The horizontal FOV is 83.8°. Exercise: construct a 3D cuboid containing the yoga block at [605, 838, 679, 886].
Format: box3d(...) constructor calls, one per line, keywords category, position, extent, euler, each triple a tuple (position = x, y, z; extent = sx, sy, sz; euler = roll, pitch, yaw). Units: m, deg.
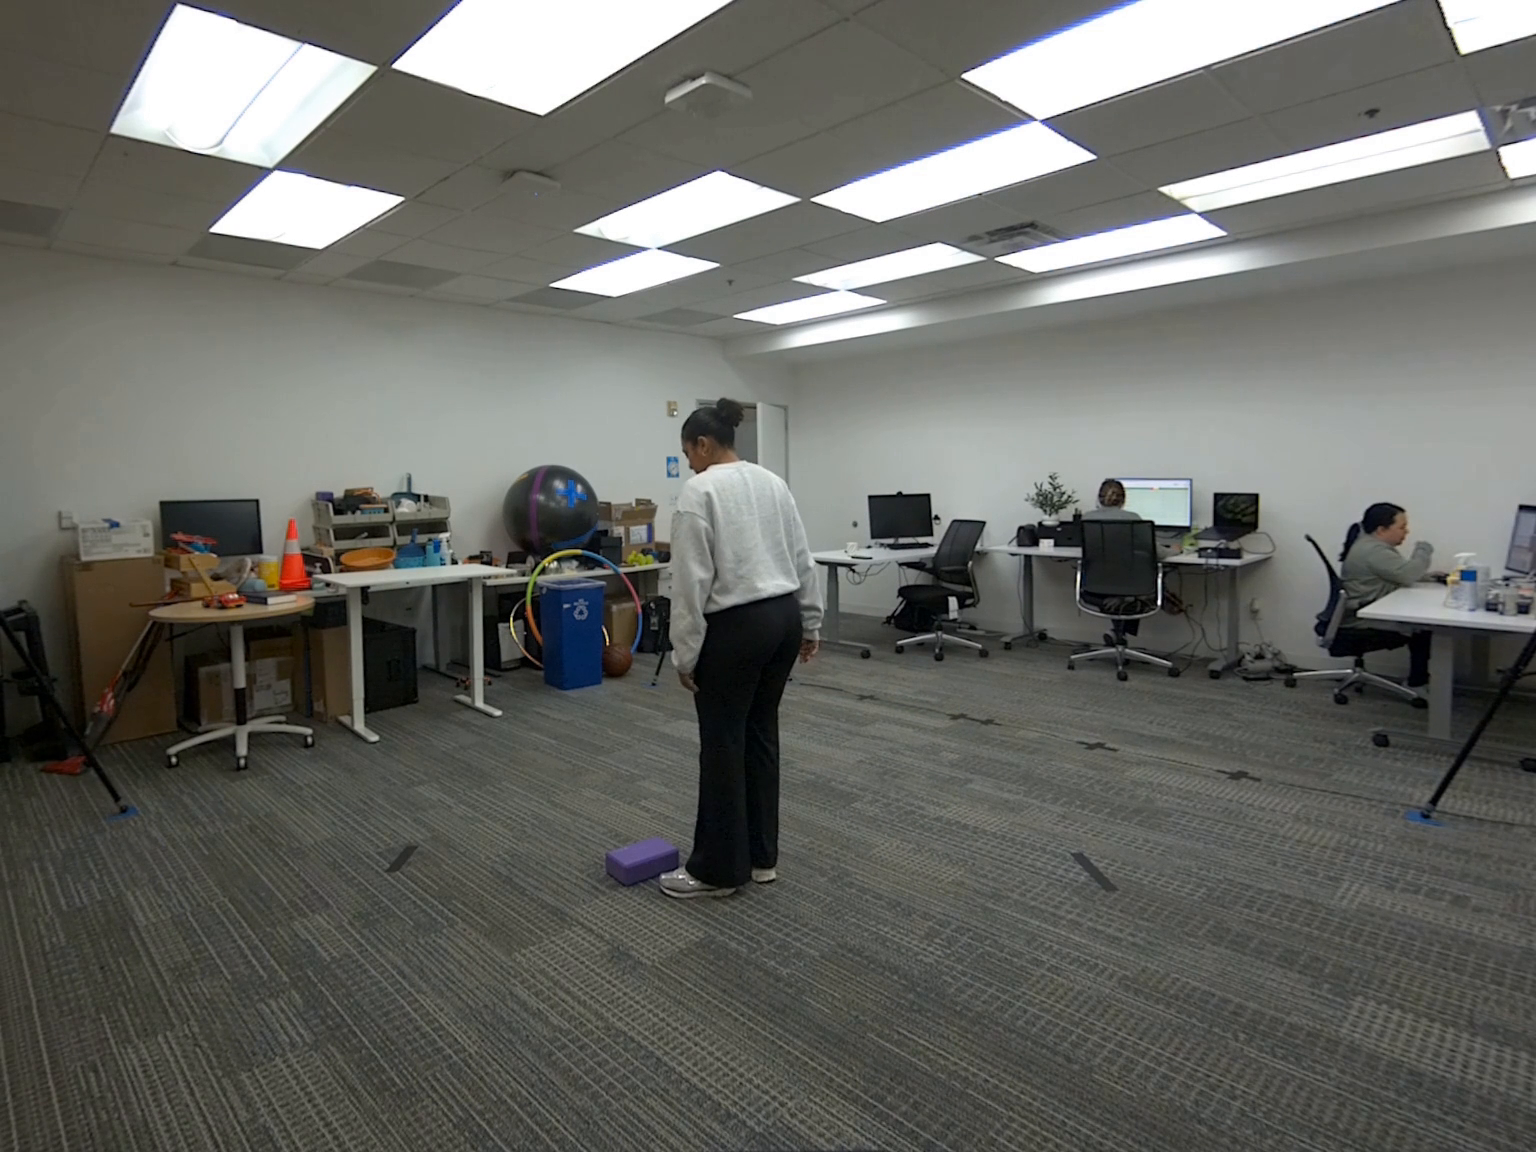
box3d(category="yoga block", position=(-0.444, 1.015, 3.058), extent=(0.223, 0.076, 0.153), euler=(-6, 8, -38))
